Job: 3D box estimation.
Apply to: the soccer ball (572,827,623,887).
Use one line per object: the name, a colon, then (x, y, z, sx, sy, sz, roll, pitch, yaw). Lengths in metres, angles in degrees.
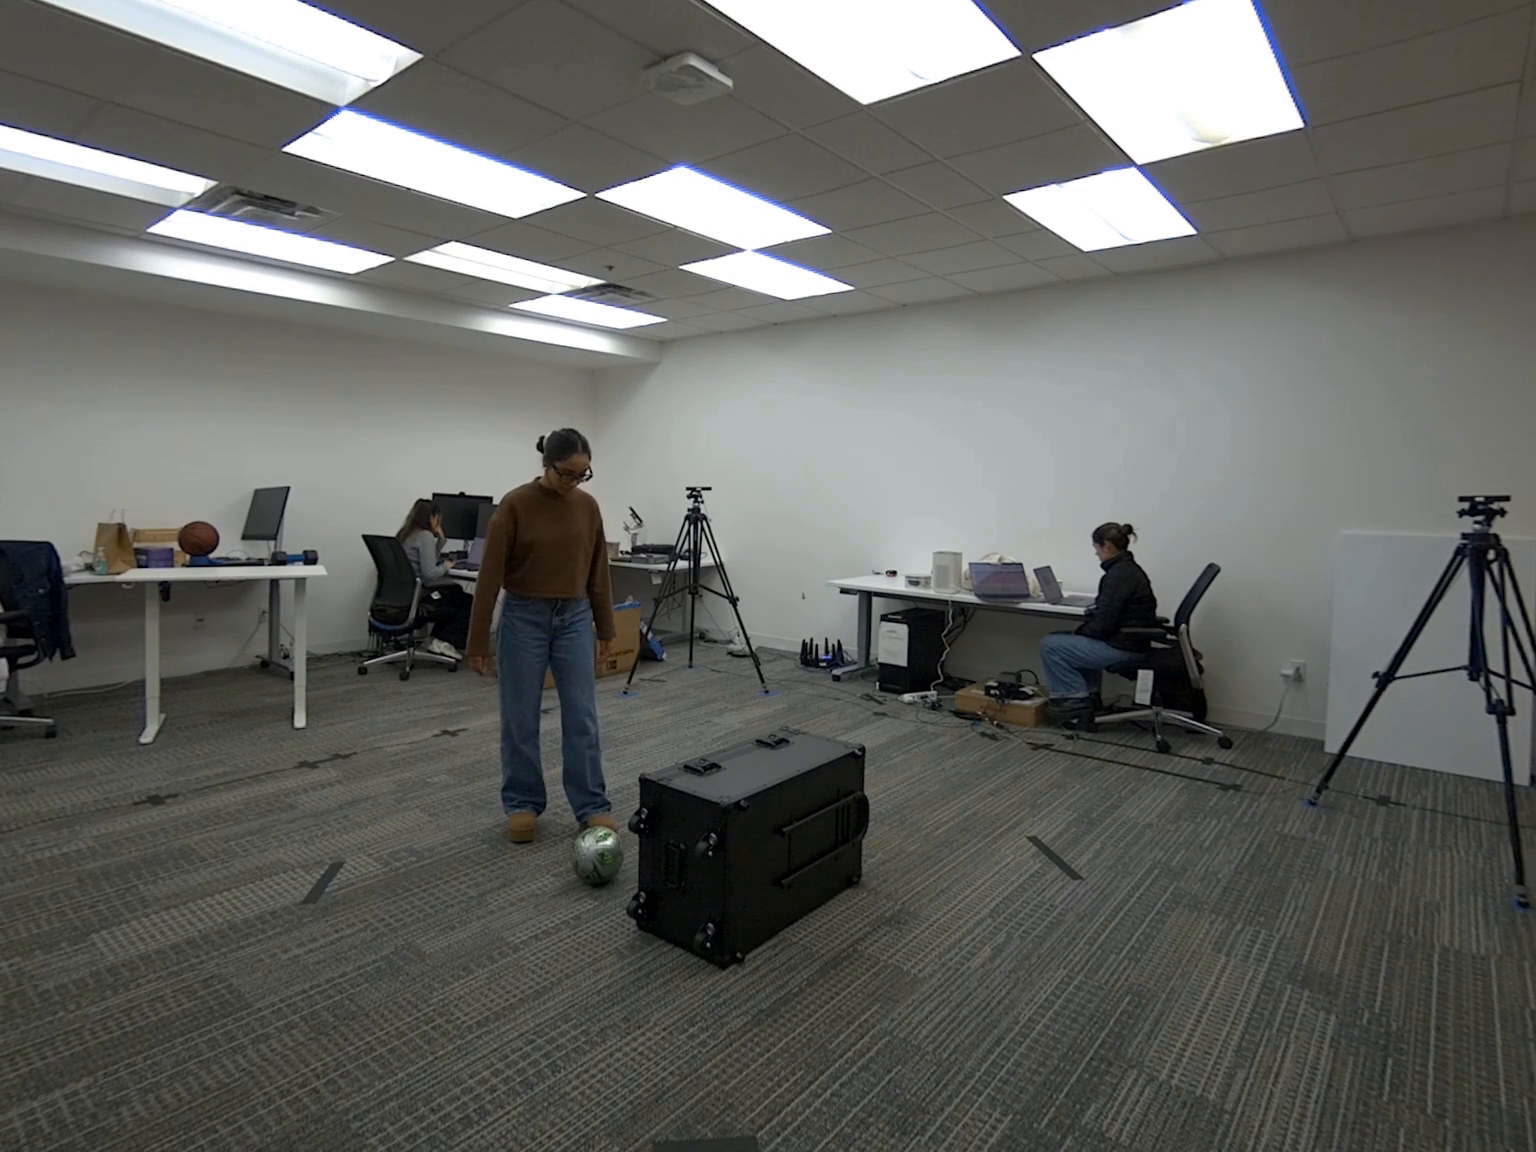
soccer ball: (-0.607, 0.977, 2.995, 0.187, 0.187, 0.188, 1, 4, -2)
